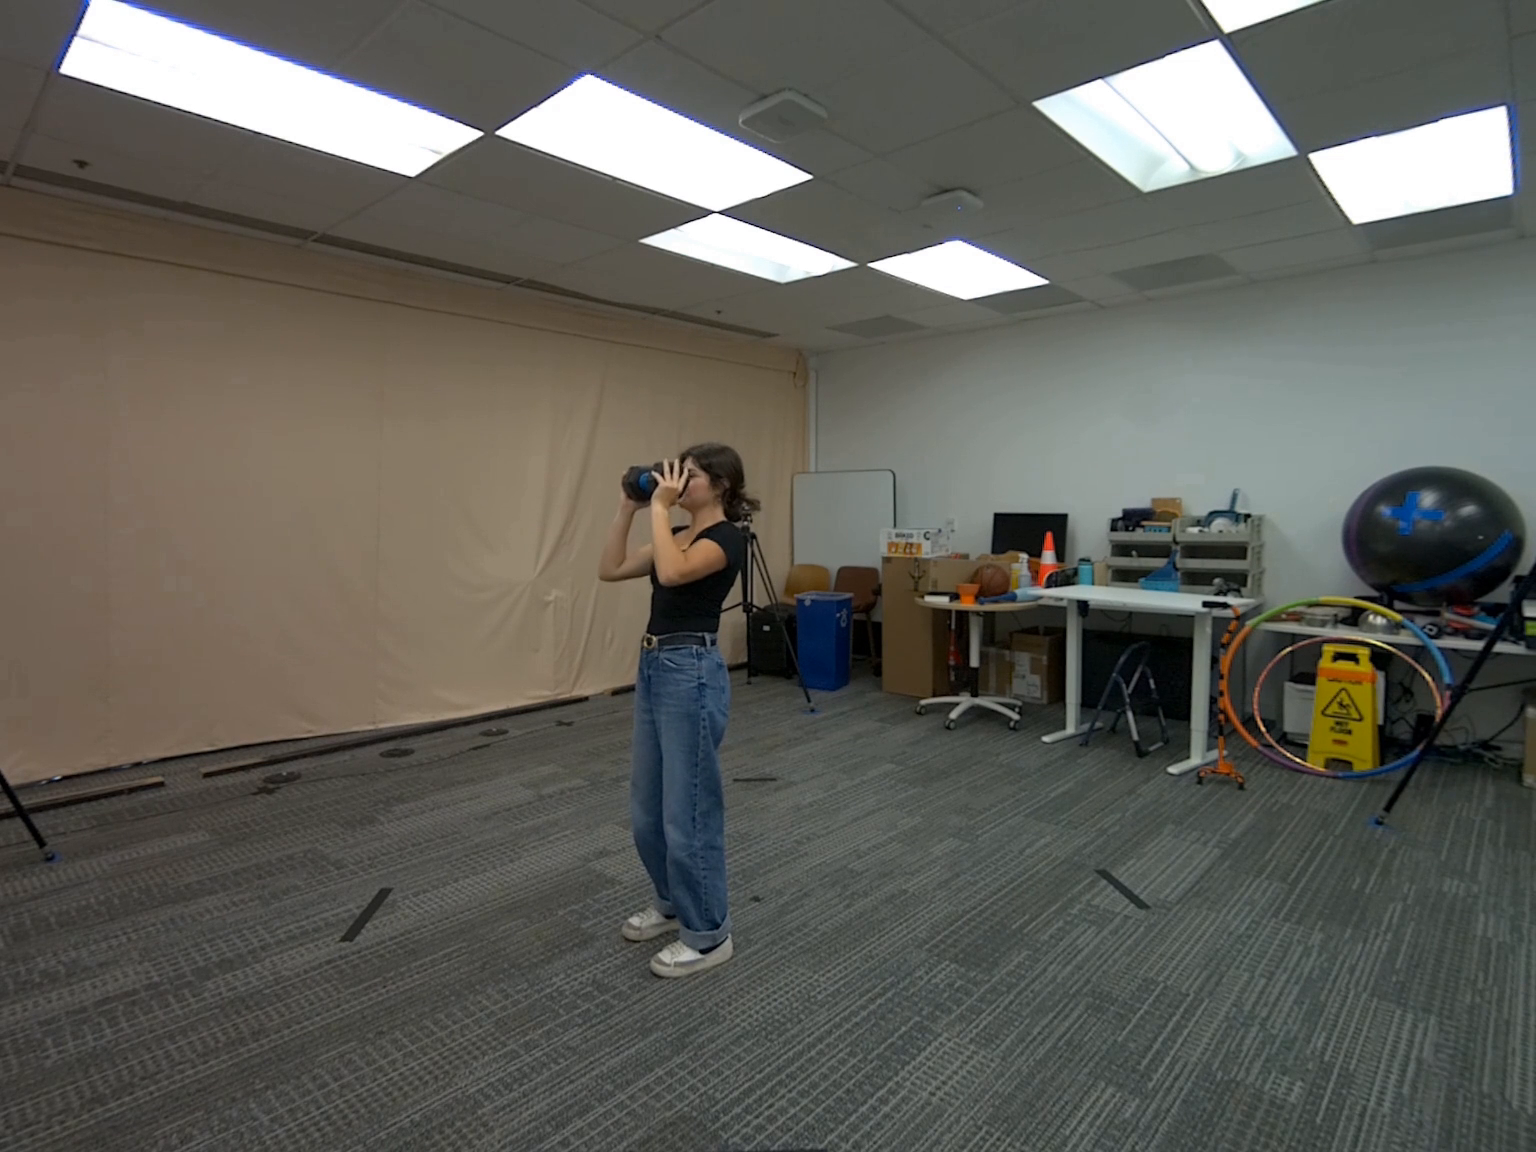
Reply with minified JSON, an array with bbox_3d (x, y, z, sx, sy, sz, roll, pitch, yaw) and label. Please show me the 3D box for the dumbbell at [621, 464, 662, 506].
[{"bbox_3d":[-0.343,-0.302,2.612,0.107,0.121,0.301,-32,16,-21],"label":"dumbbell"}]
